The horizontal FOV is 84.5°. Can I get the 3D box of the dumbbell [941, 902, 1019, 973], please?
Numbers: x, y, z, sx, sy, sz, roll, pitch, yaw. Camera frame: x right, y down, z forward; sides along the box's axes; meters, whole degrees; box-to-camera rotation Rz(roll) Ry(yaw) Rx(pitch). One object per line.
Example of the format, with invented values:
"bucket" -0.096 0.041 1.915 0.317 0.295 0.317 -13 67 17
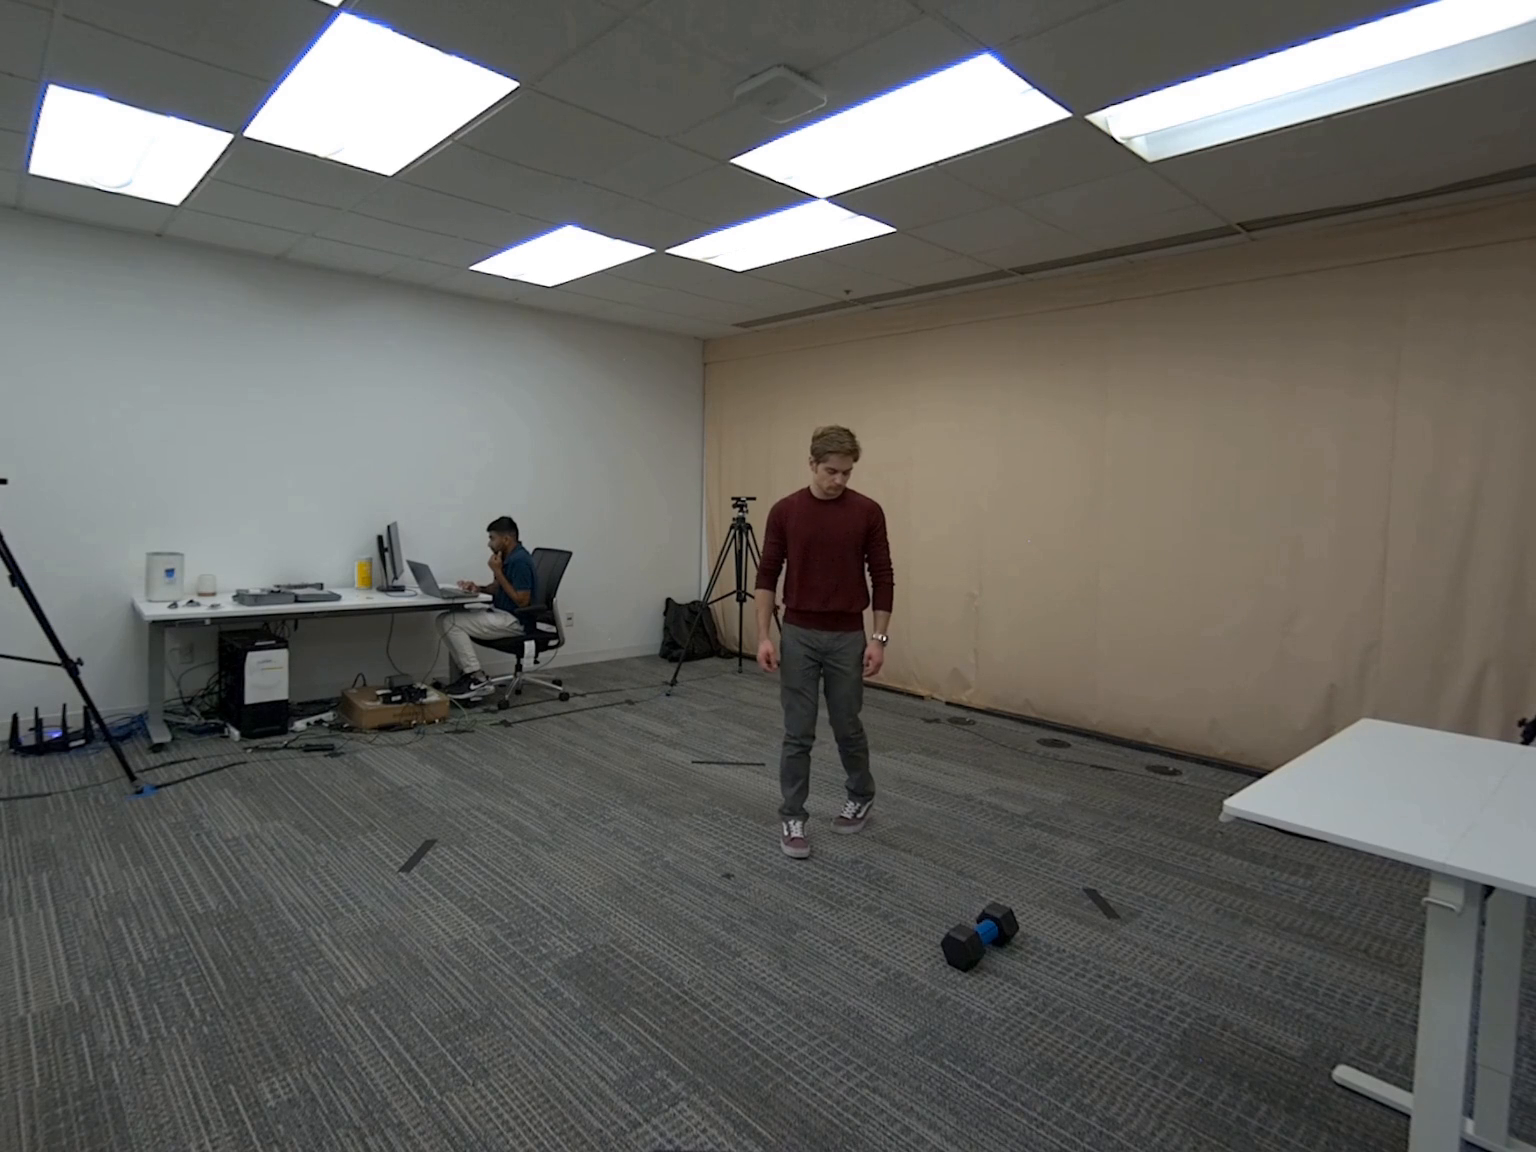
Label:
"dumbbell" 0.659 1.120 2.610 0.287 0.122 0.112 -5 39 -46
